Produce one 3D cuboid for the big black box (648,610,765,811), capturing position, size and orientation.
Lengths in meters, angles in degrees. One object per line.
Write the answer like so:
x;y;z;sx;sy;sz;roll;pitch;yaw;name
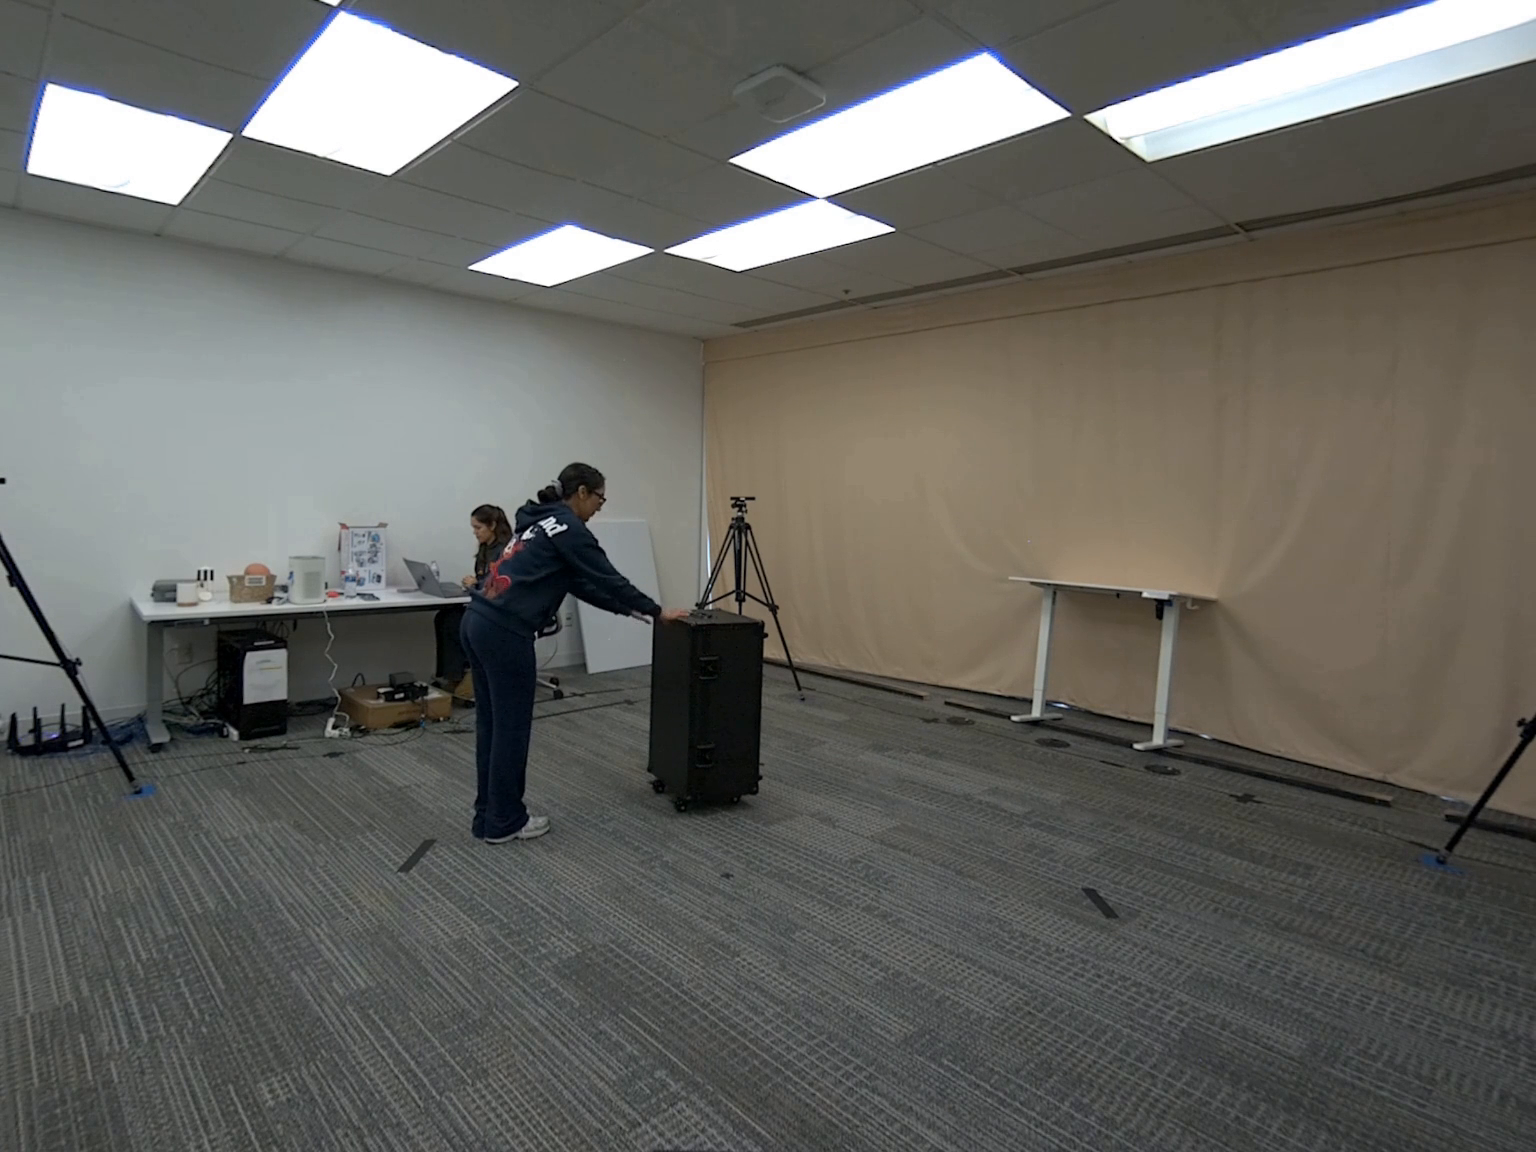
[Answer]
-0.313;0.606;3.917;0.389;0.860;0.532;1;2;-27;big black box
